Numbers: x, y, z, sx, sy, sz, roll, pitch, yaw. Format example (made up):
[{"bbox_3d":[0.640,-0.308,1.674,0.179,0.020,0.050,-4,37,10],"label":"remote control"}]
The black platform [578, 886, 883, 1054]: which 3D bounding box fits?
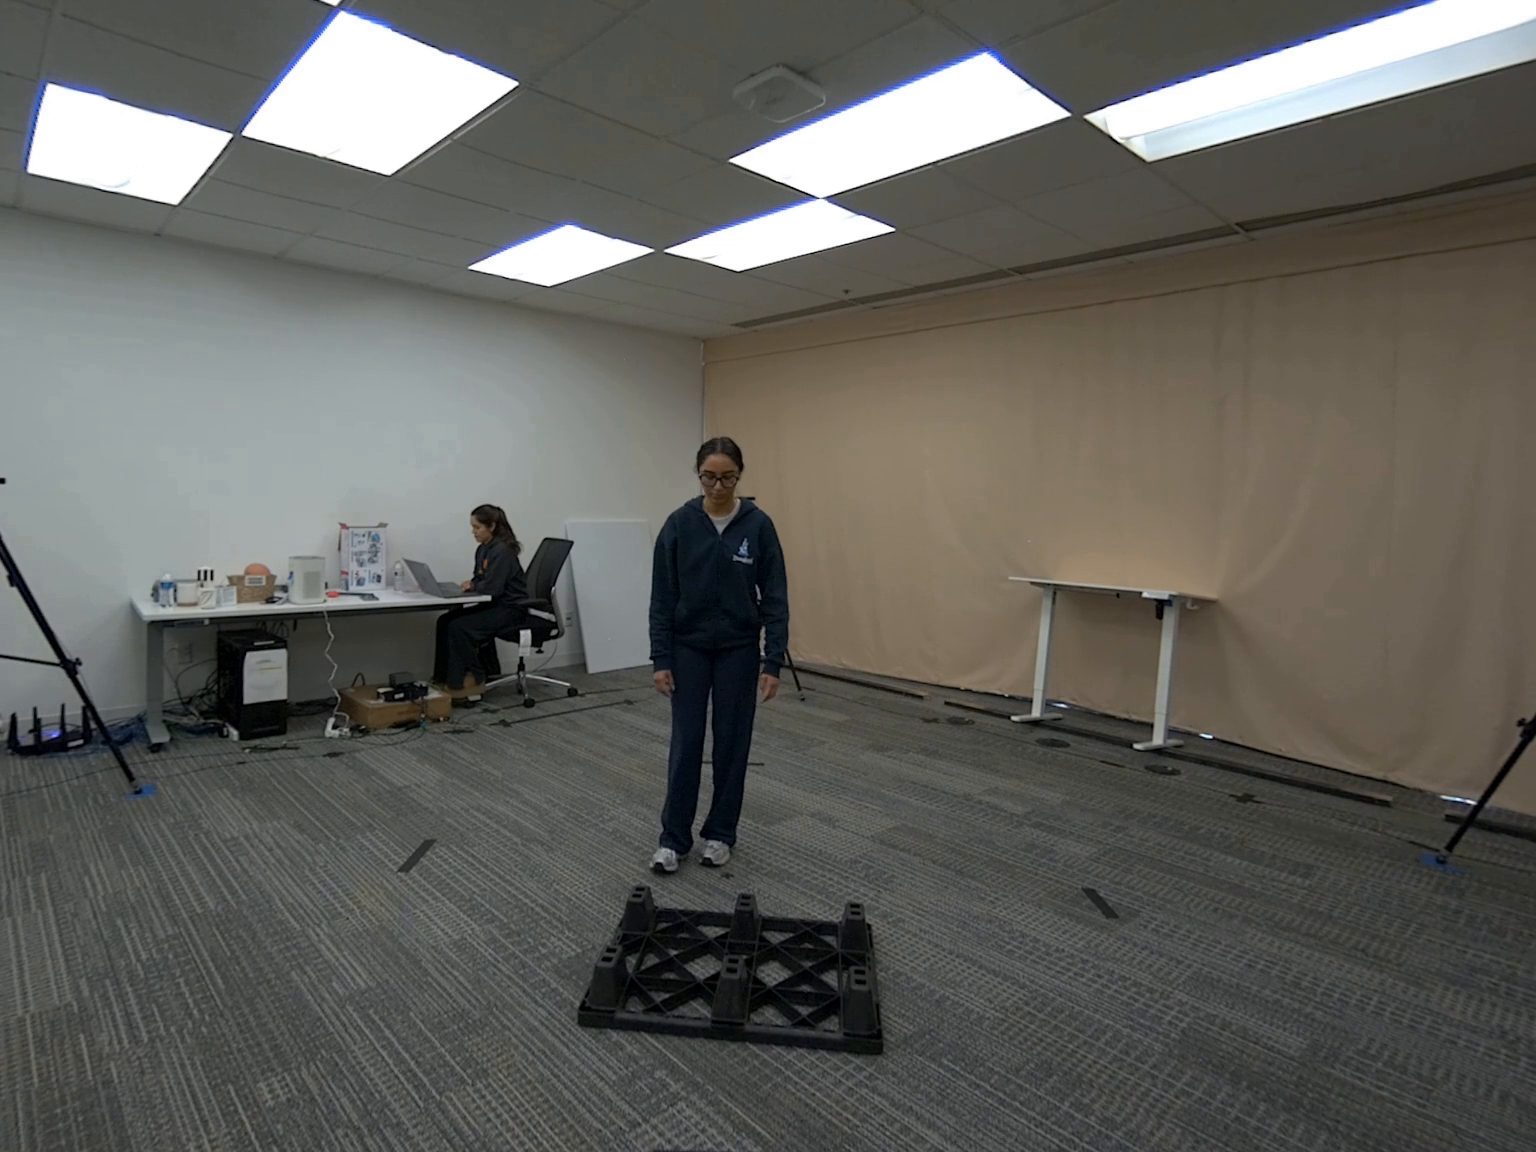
[{"bbox_3d":[-0.088,1.106,2.444,0.809,0.143,0.604,2,5,5],"label":"black platform"}]
